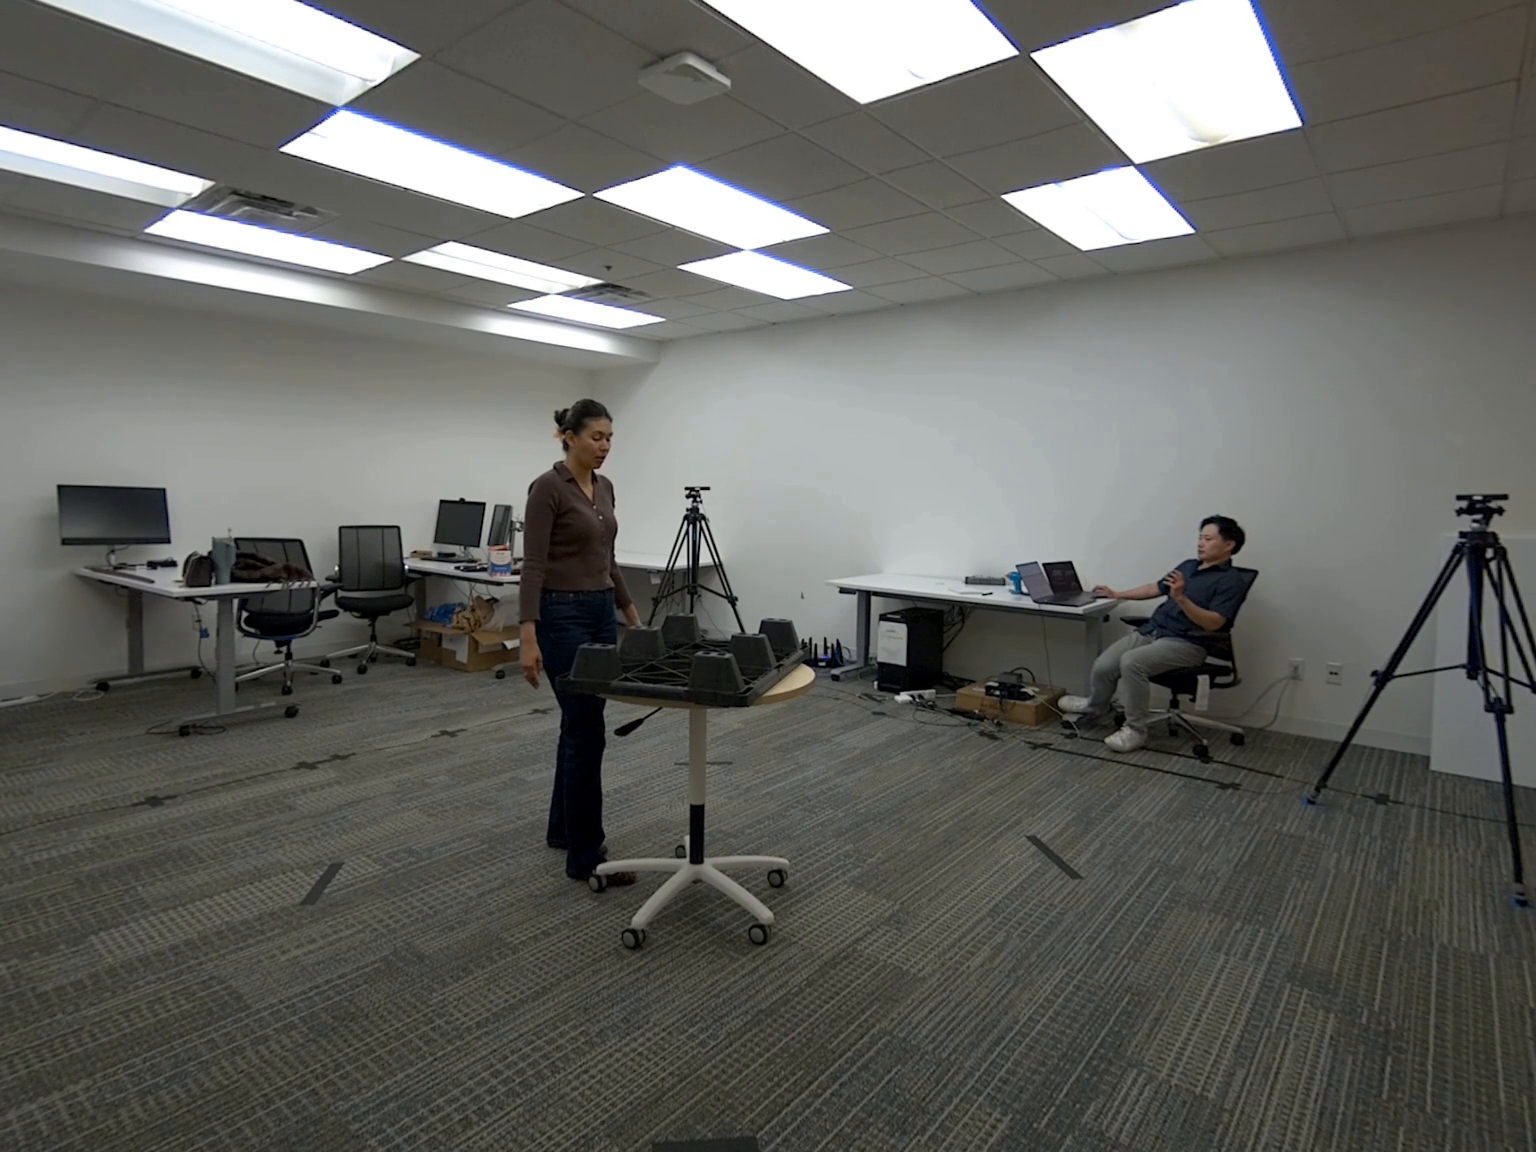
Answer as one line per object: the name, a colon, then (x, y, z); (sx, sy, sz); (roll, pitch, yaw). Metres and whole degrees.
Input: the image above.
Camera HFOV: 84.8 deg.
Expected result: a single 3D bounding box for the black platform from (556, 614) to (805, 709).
black platform: (-0.252, 0.249, 2.802); (0.617, 0.143, 0.793); (2, 5, 17)
